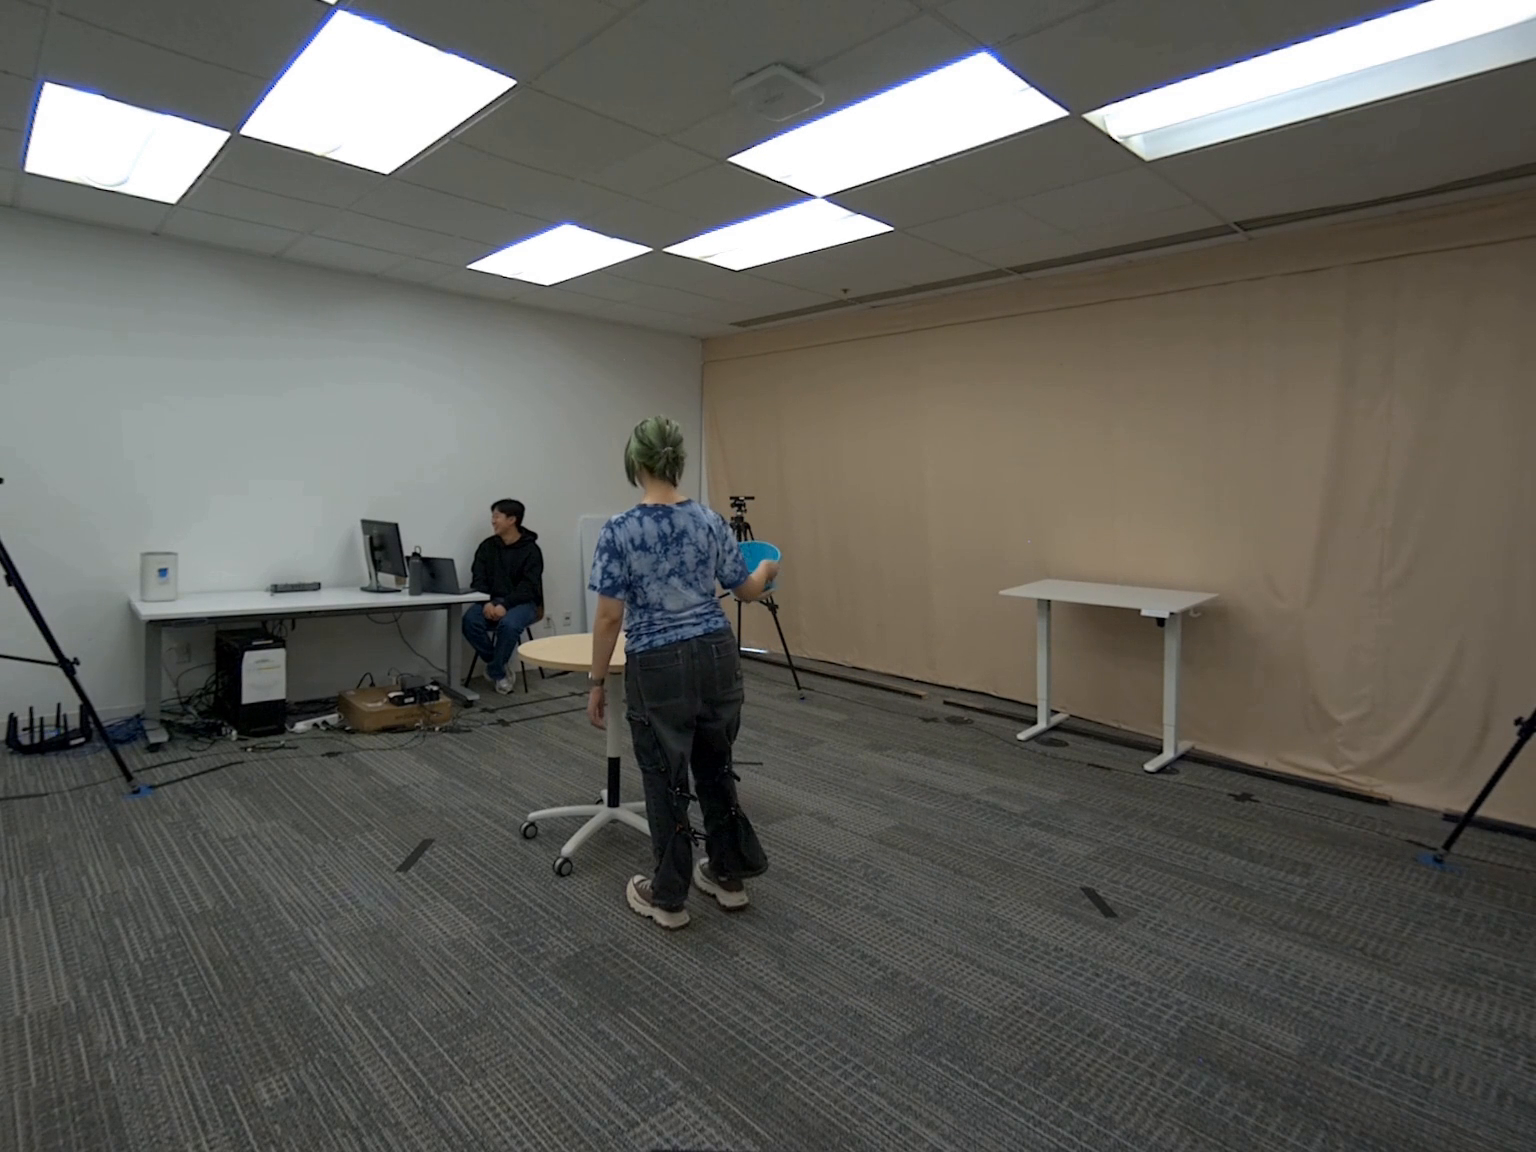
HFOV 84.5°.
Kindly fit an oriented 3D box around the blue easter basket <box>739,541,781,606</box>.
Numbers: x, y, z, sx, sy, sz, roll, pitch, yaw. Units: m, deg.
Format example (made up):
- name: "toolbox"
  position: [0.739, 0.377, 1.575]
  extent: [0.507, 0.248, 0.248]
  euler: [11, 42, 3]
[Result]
- name: "blue easter basket"
  position: [-0.073, -0.005, 3.250]
  extent: [0.244, 0.153, 0.248]
  euler: [-4, 30, 1]
